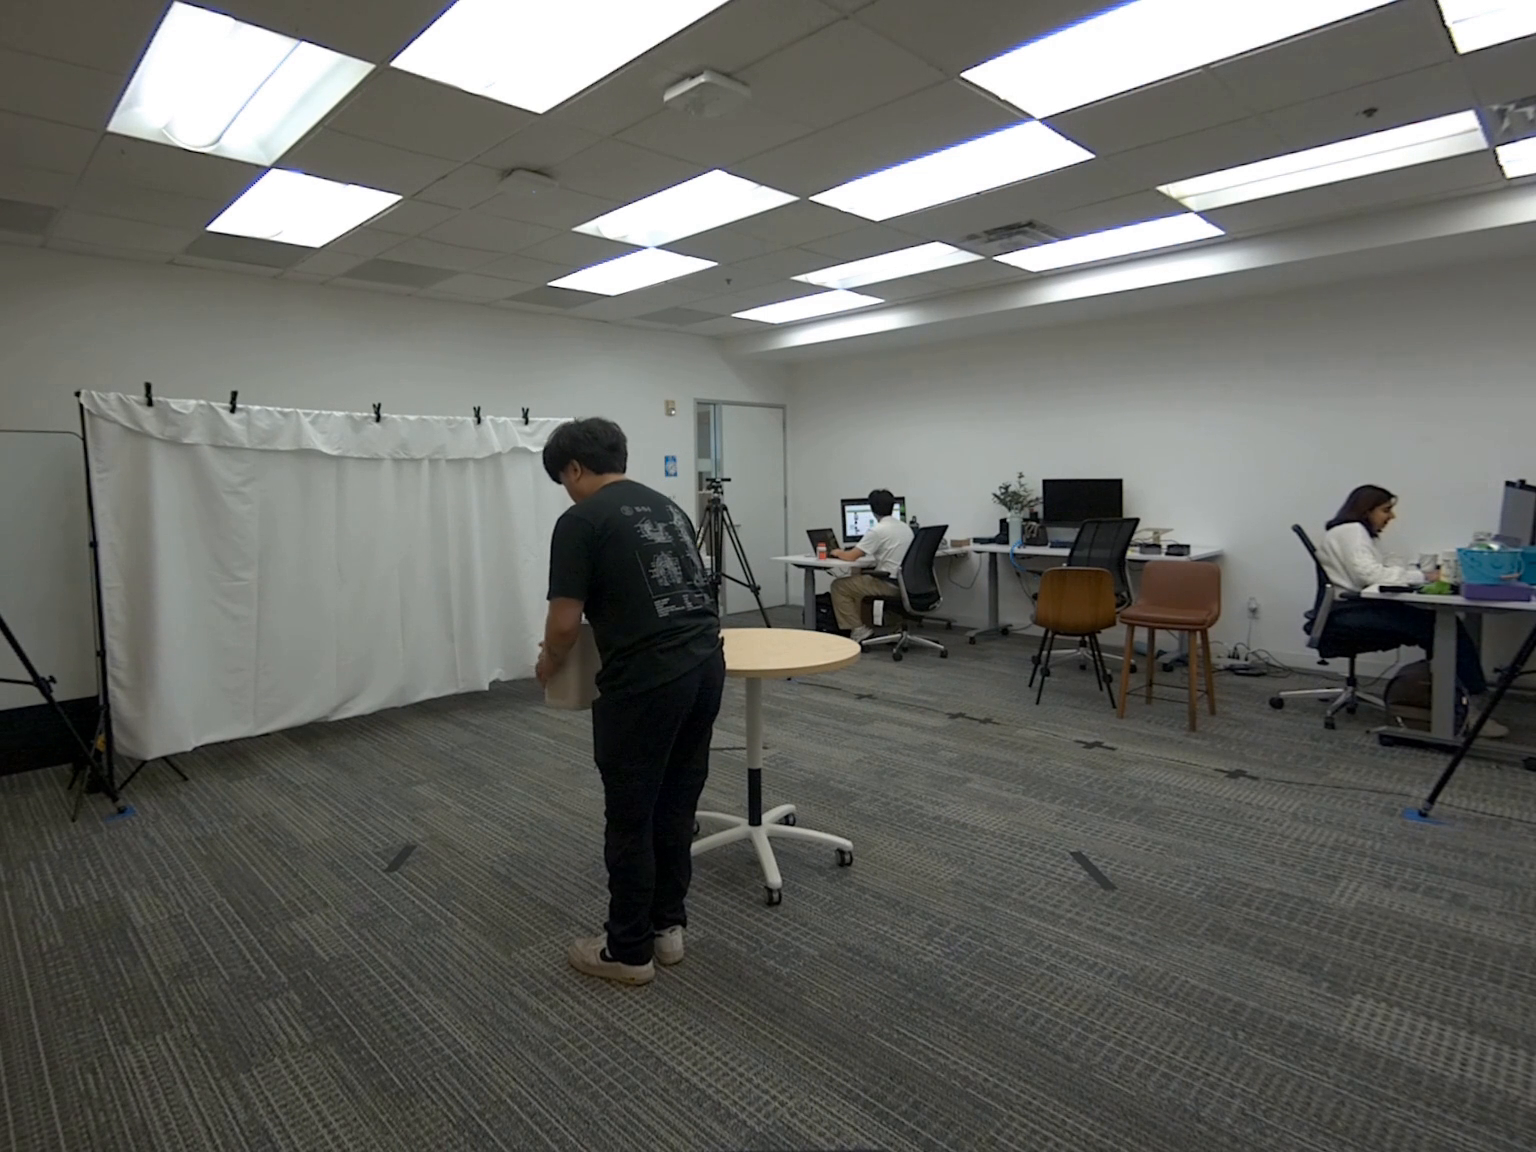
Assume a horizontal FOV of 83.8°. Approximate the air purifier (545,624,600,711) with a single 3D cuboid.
[{"bbox_3d":[-0.581,0.267,2.630,0.176,0.265,0.167,1,3,33],"label":"air purifier"}]
